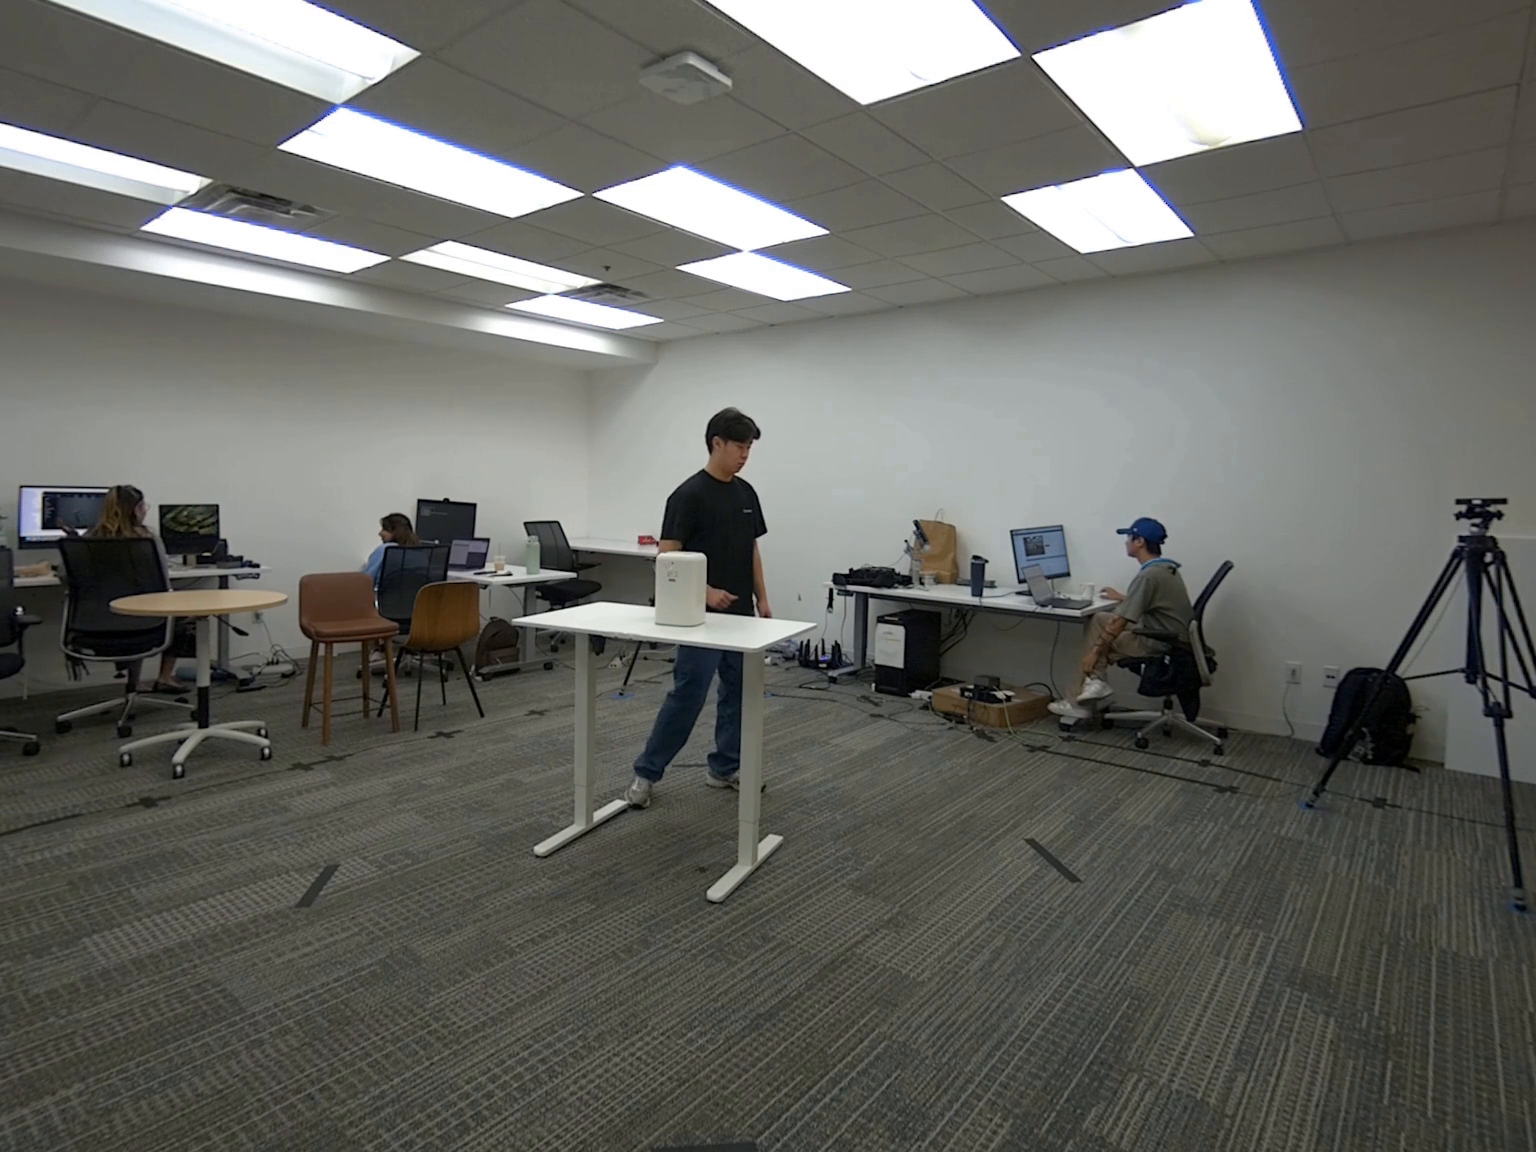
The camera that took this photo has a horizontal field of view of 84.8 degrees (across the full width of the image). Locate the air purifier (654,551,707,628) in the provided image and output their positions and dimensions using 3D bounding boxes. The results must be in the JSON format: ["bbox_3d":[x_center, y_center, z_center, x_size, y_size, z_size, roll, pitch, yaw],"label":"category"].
[{"bbox_3d":[-0.335,0.041,3.208,0.174,0.264,0.169,2,4,18],"label":"air purifier"}]
